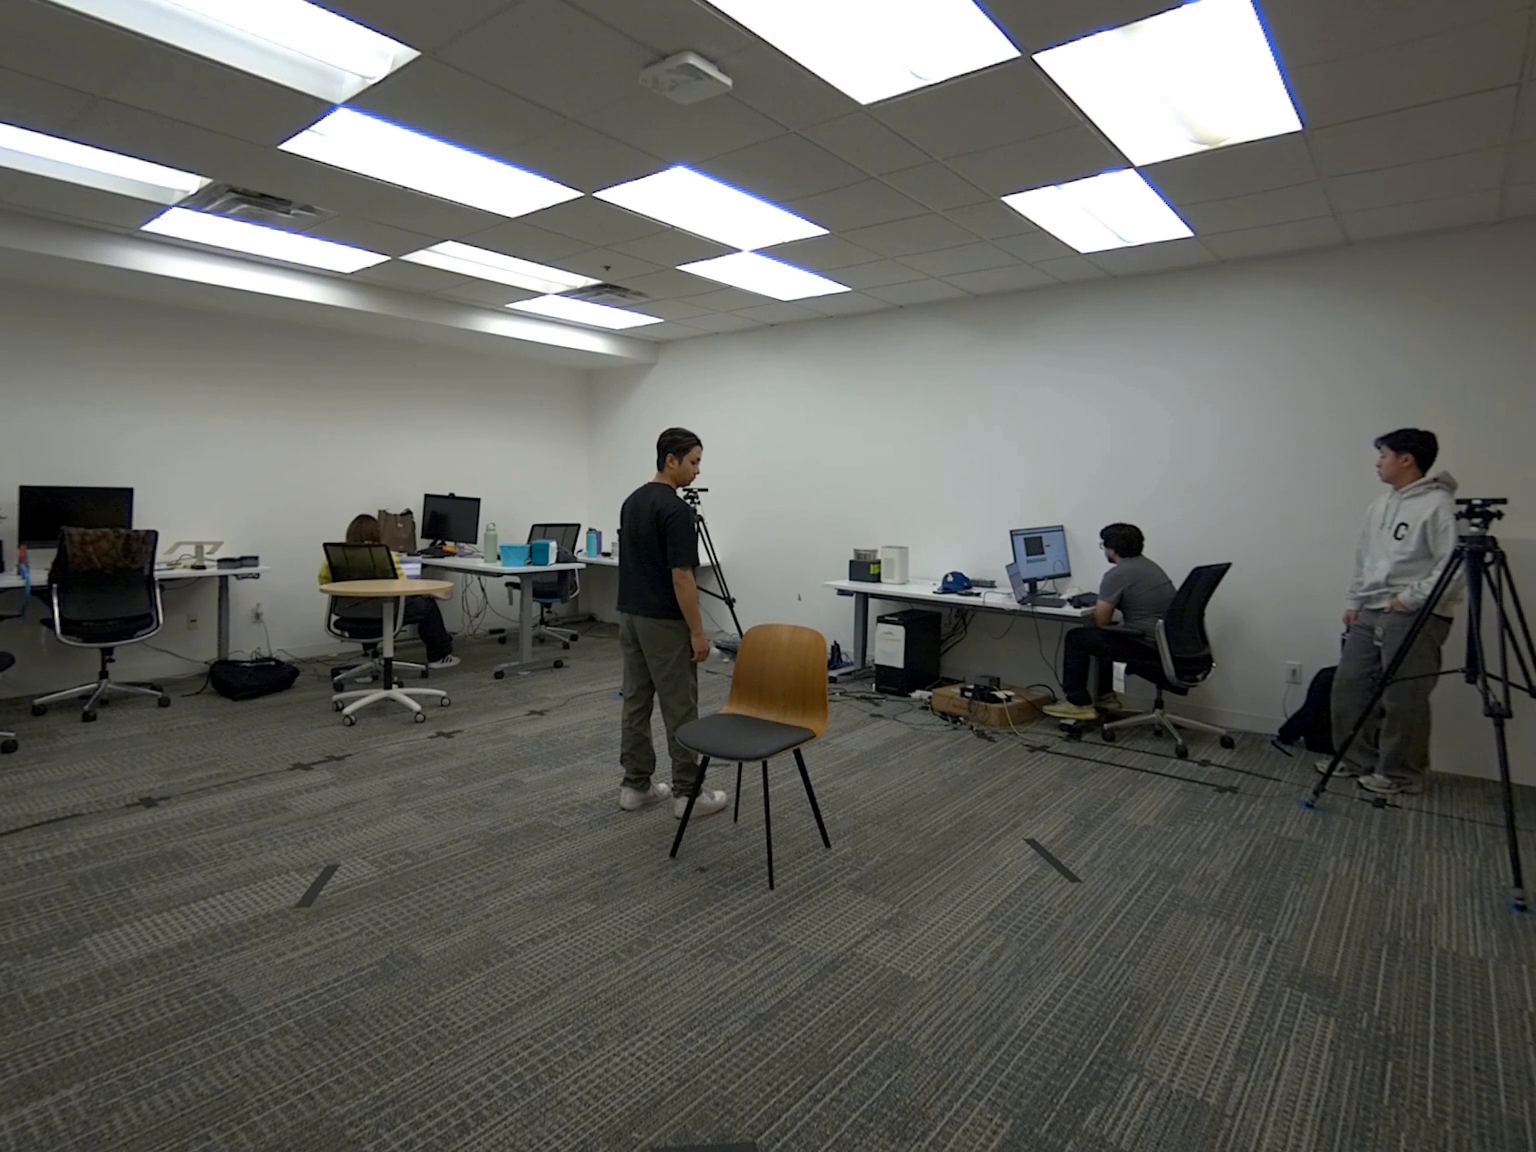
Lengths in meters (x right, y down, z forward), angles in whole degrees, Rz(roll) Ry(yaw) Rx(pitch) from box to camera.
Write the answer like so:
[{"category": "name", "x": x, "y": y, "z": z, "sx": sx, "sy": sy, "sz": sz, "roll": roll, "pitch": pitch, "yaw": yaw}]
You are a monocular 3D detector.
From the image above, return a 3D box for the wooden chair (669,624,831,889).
[{"category": "wooden chair", "x": -0.063, "y": 0.631, "z": 3.230, "sx": 0.493, "sy": 0.878, "sz": 0.507, "roll": 3, "pitch": 0, "yaw": 32}]
